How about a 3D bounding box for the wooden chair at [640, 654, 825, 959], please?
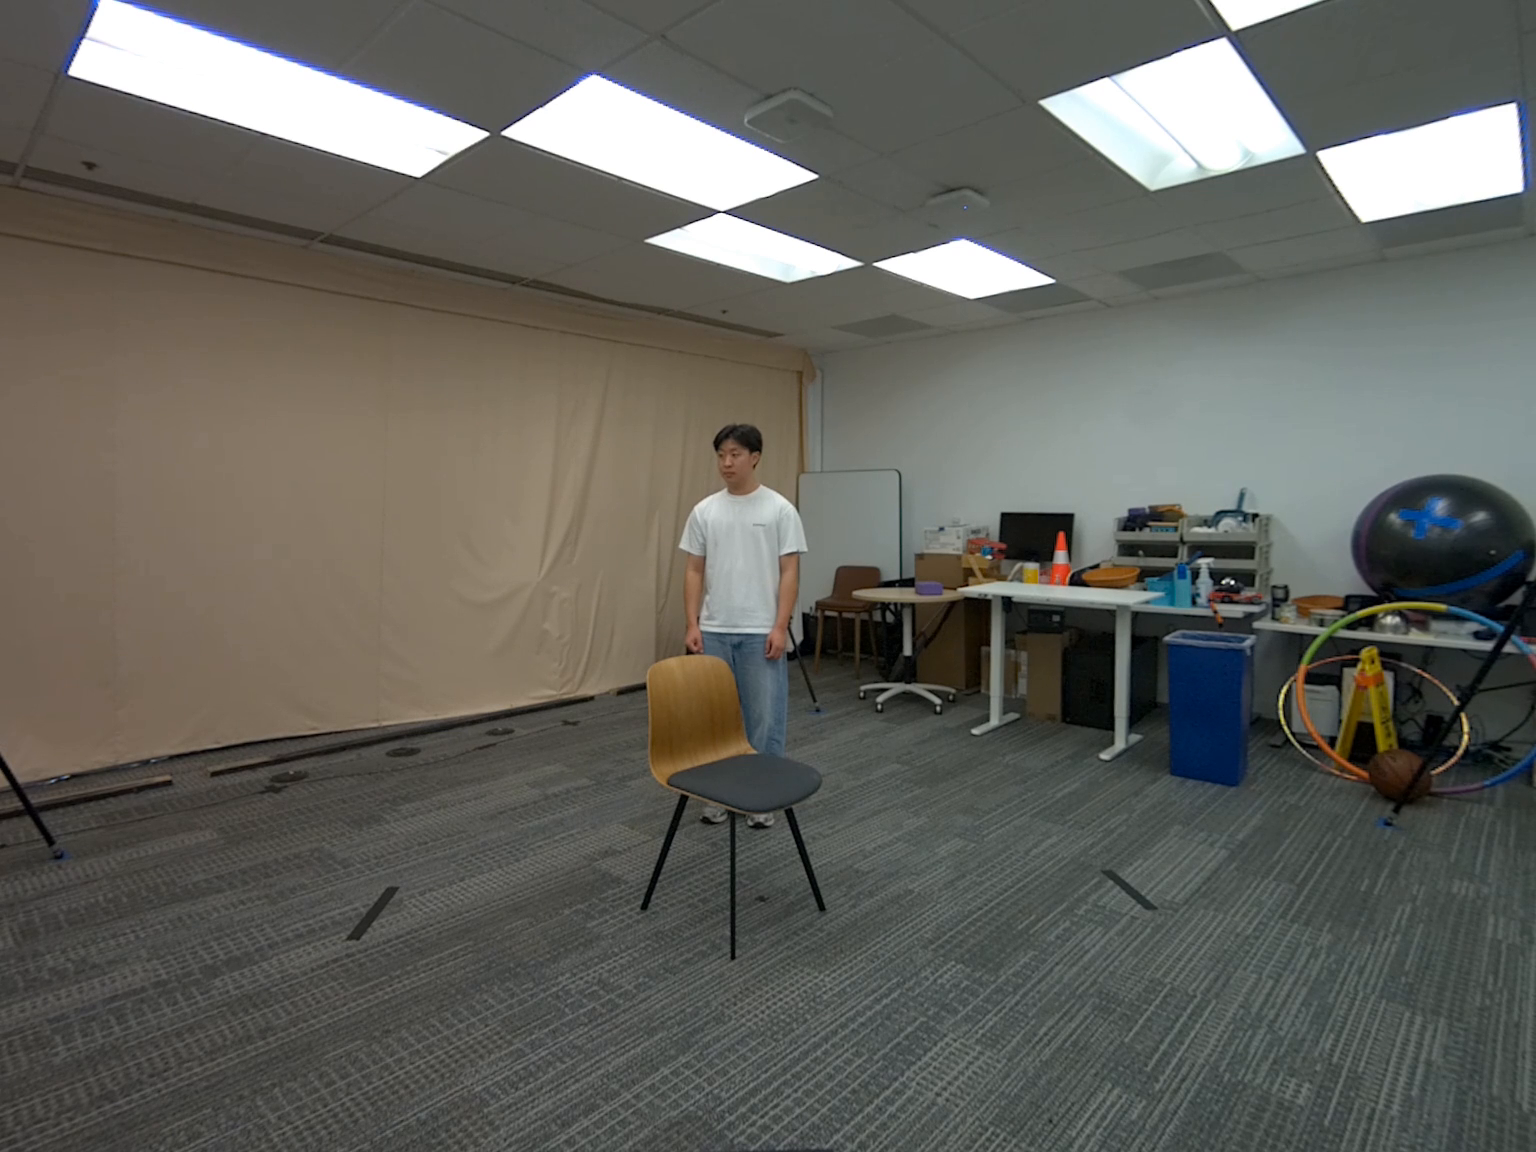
[{"bbox_3d":[-0.115,0.725,2.861,0.539,0.877,0.463,-4,0,44],"label":"wooden chair"}]
